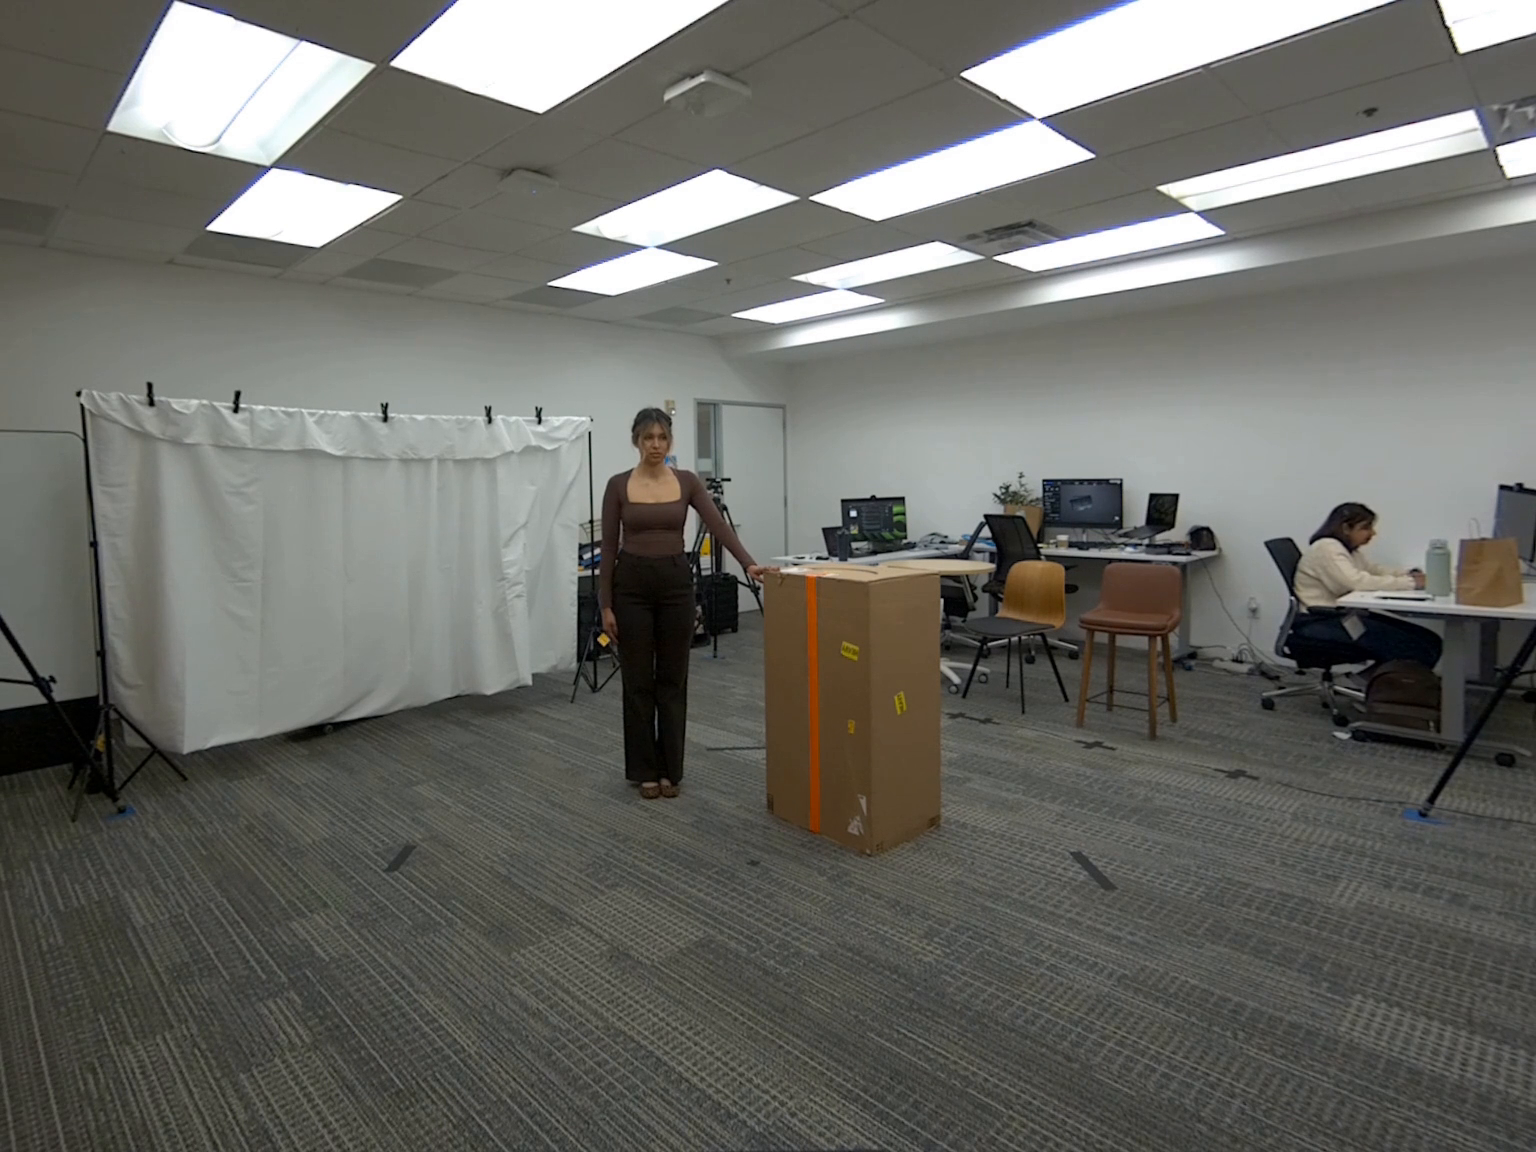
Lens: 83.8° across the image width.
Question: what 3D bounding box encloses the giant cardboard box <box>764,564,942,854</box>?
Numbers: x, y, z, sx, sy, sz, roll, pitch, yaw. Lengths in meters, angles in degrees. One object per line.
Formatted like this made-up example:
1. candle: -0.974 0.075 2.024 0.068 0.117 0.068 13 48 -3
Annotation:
1. giant cardboard box: 0.334 0.486 3.456 0.435 1.023 0.602 -5 6 -39
